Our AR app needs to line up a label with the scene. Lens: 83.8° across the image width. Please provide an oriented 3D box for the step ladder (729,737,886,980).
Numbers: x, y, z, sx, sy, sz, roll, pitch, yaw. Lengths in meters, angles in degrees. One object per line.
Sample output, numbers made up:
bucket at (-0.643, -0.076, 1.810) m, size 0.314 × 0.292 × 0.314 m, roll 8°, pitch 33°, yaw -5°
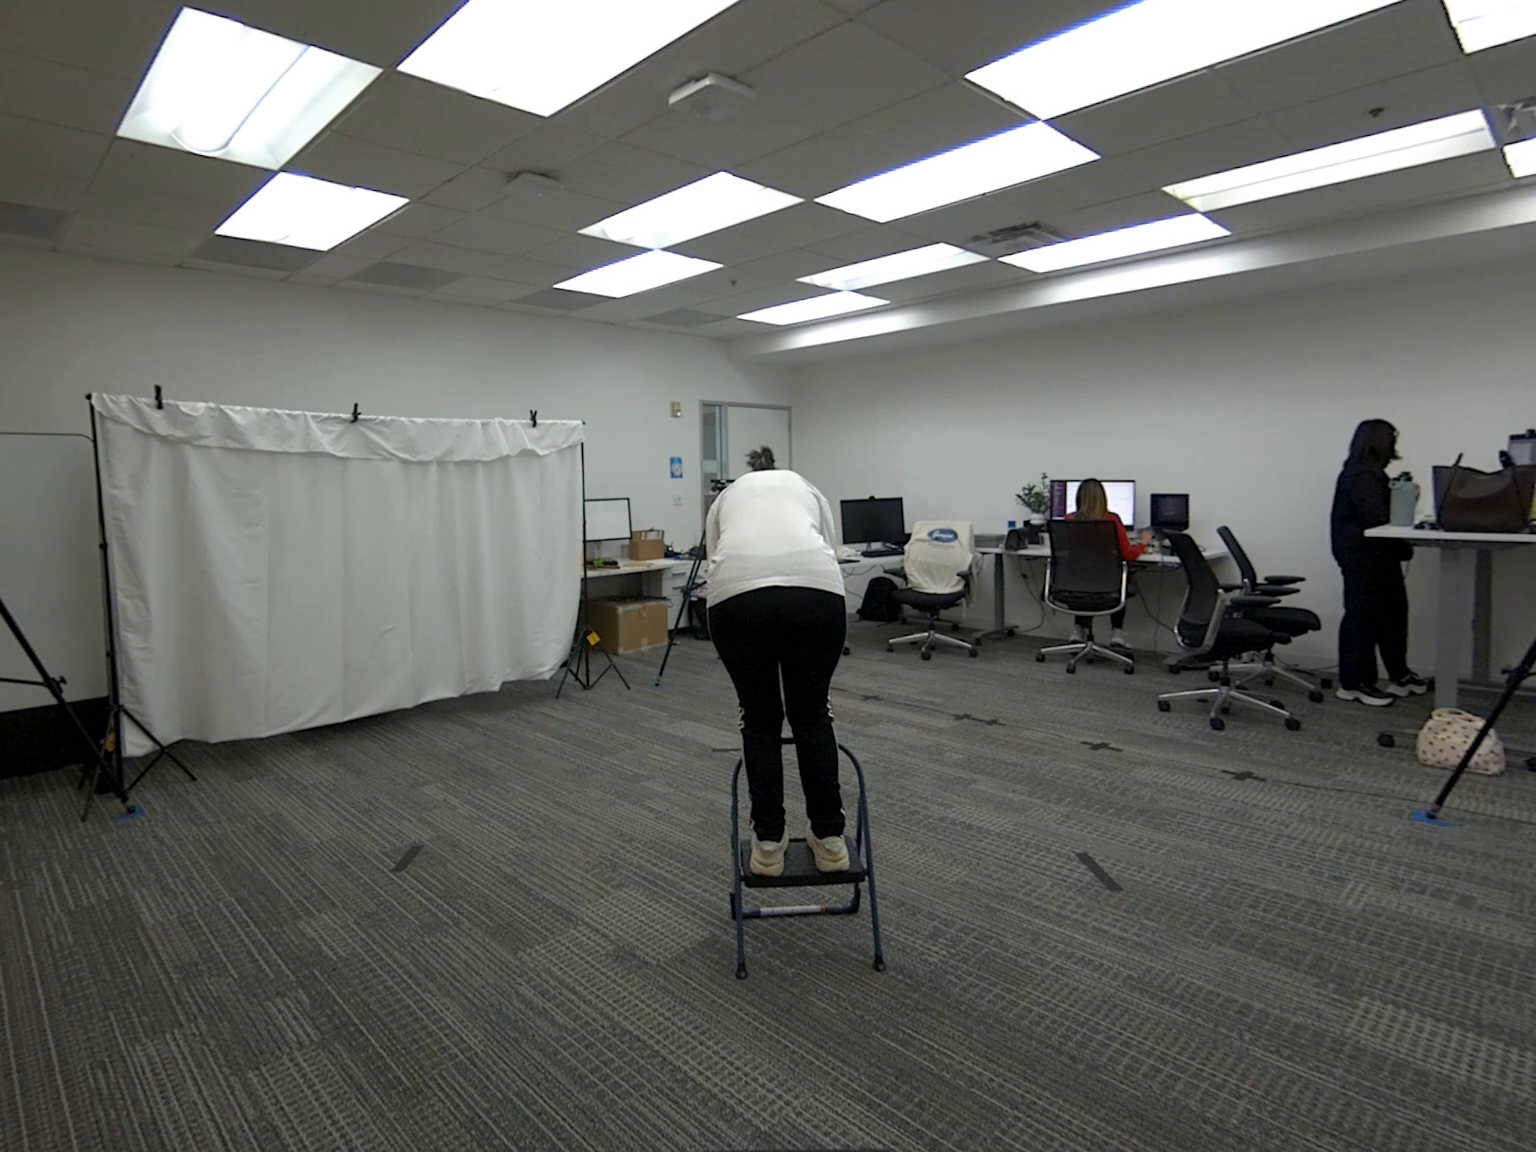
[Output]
step ladder at (0.105, 0.807, 2.566) m, size 0.429 × 0.603 × 0.352 m, roll -1°, pitch 5°, yaw -5°
